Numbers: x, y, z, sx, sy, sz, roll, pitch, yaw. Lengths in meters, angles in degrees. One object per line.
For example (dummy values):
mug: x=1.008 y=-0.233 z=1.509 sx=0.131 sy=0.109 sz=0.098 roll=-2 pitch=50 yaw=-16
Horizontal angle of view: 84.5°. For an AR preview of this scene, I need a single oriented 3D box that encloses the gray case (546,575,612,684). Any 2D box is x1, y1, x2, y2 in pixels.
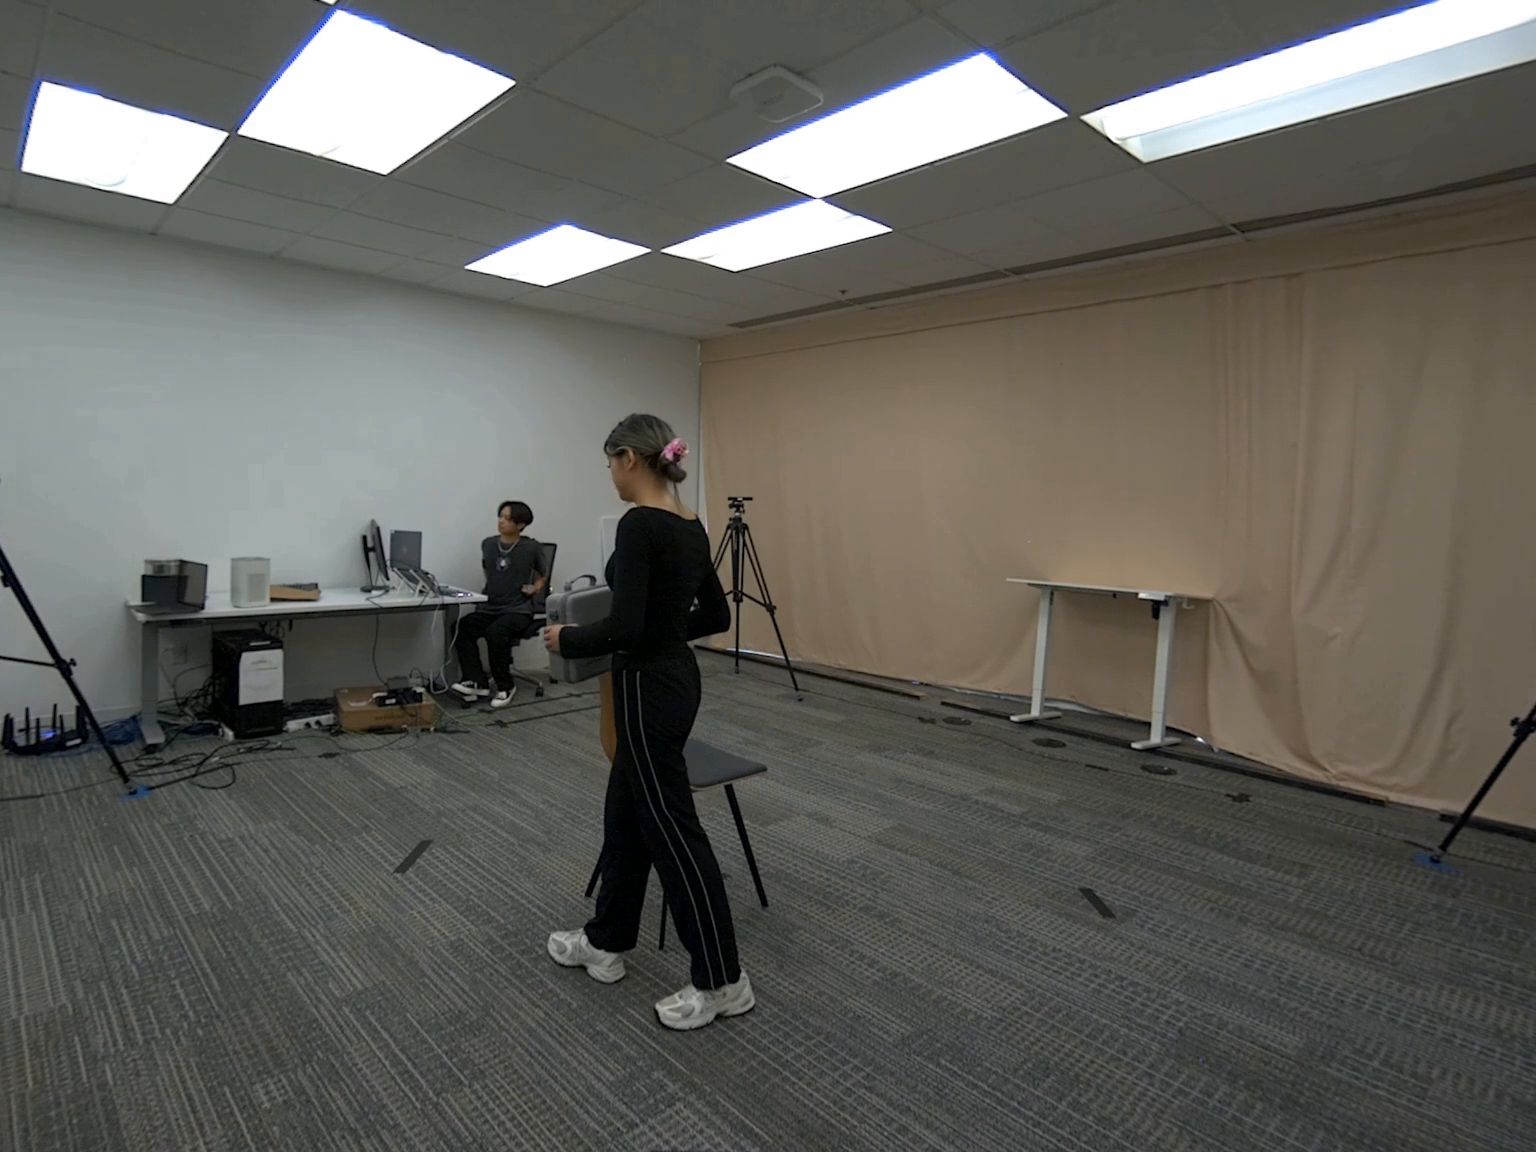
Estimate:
gray case: x=-0.508 y=0.155 z=2.425 sx=0.106 sy=0.260 sz=0.252 roll=-1 pitch=5 yaw=32
